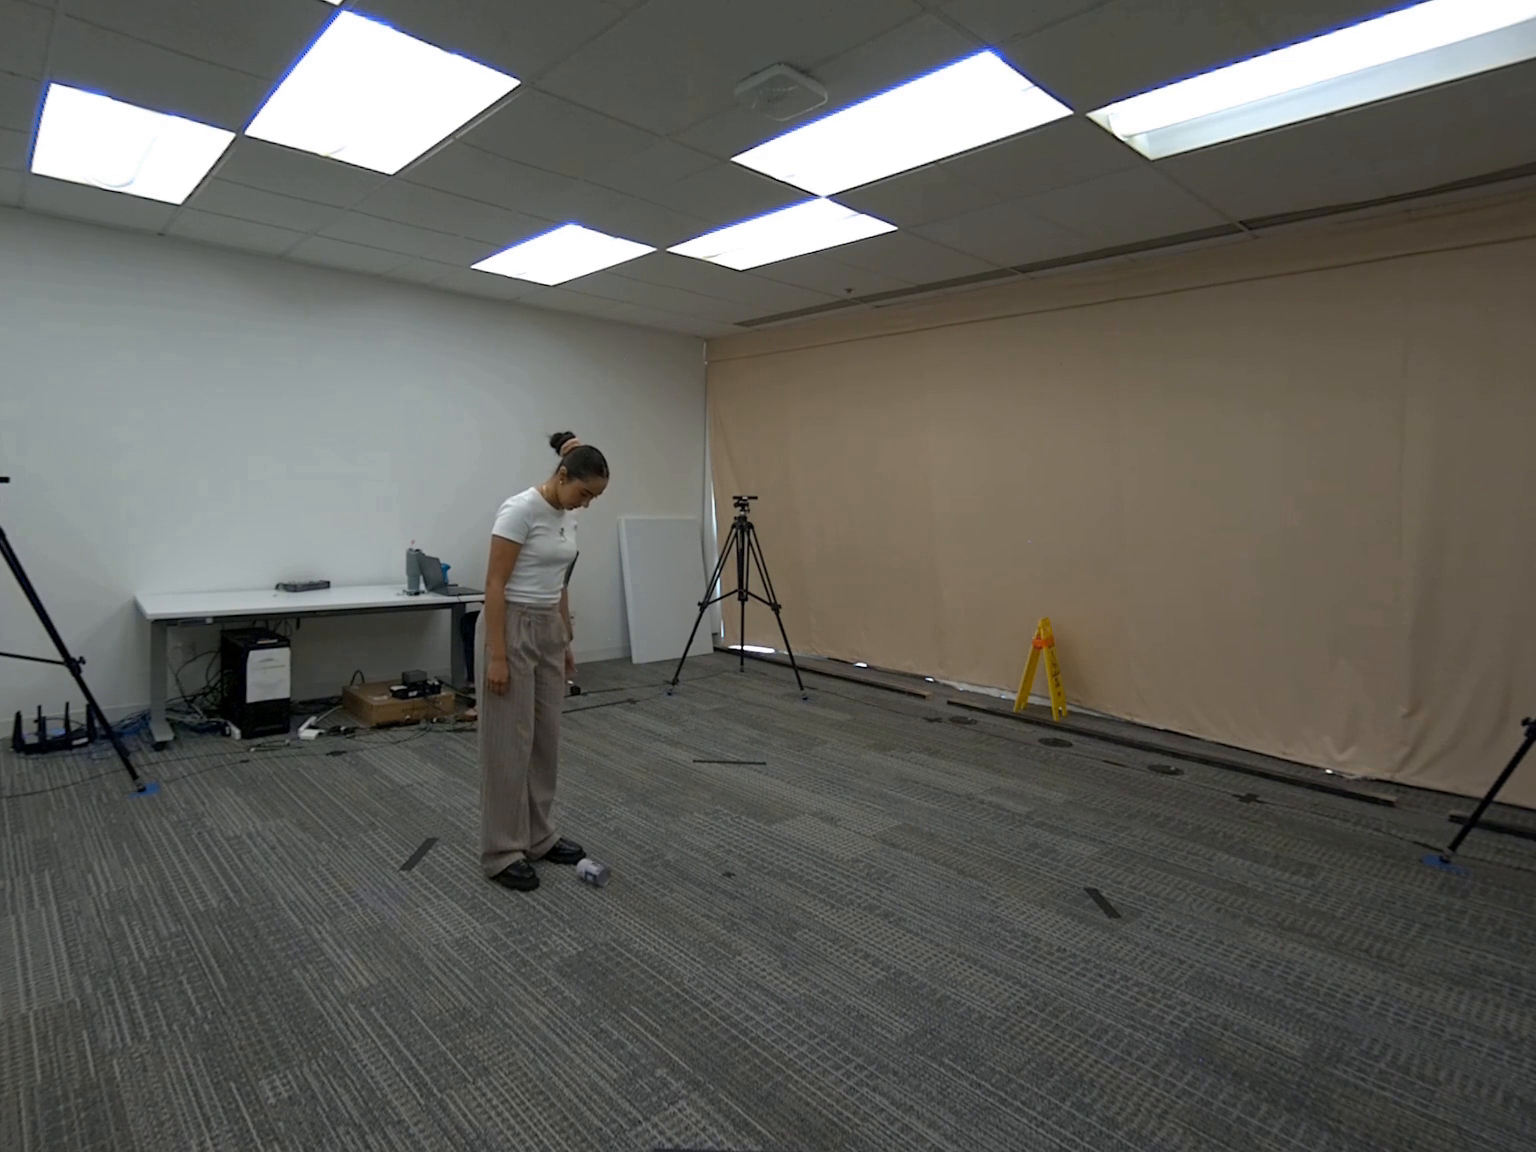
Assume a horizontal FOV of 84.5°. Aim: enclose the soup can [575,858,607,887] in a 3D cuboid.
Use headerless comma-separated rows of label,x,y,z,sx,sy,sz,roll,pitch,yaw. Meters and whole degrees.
soup can,-0.637,1.064,3.013,0.125,0.067,0.066,11,9,37
